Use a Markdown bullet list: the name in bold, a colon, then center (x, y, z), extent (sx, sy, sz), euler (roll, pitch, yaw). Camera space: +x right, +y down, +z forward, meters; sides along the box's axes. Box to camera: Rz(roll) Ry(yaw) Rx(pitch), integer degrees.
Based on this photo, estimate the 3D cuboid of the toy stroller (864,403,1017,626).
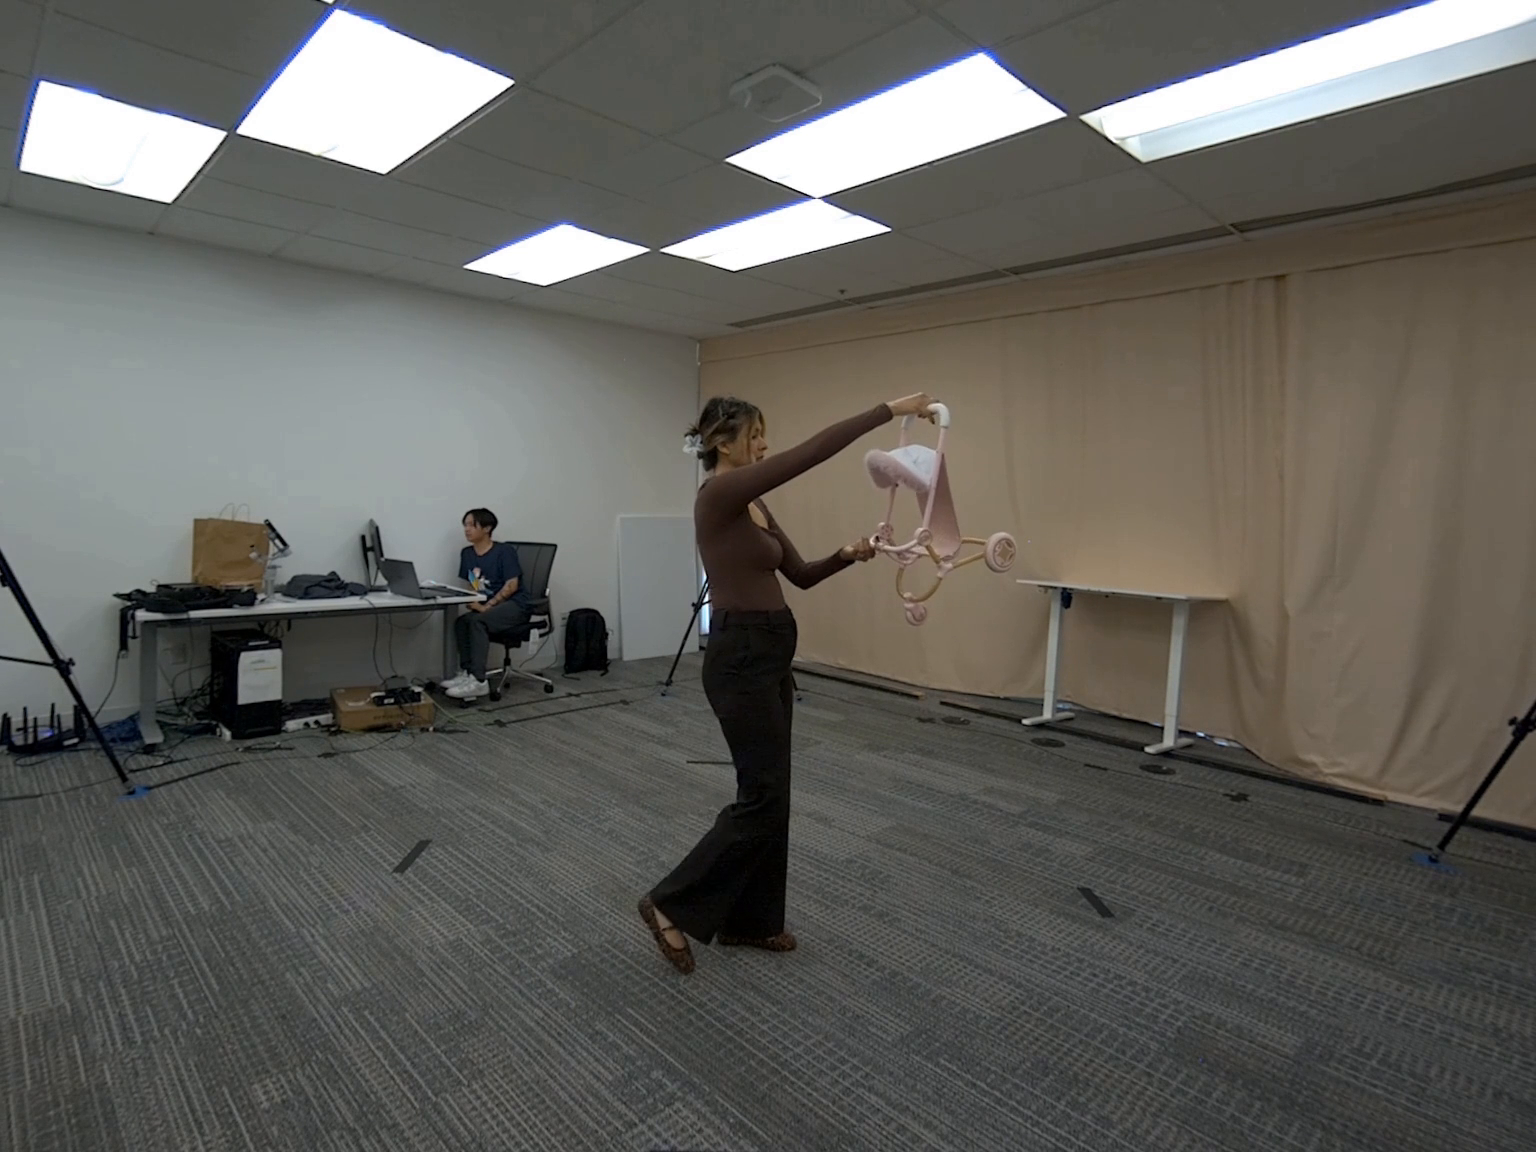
- **toy stroller**: center (0.421, -0.159, 2.332), extent (0.340, 0.526, 0.287), euler (-31, 17, -14)
